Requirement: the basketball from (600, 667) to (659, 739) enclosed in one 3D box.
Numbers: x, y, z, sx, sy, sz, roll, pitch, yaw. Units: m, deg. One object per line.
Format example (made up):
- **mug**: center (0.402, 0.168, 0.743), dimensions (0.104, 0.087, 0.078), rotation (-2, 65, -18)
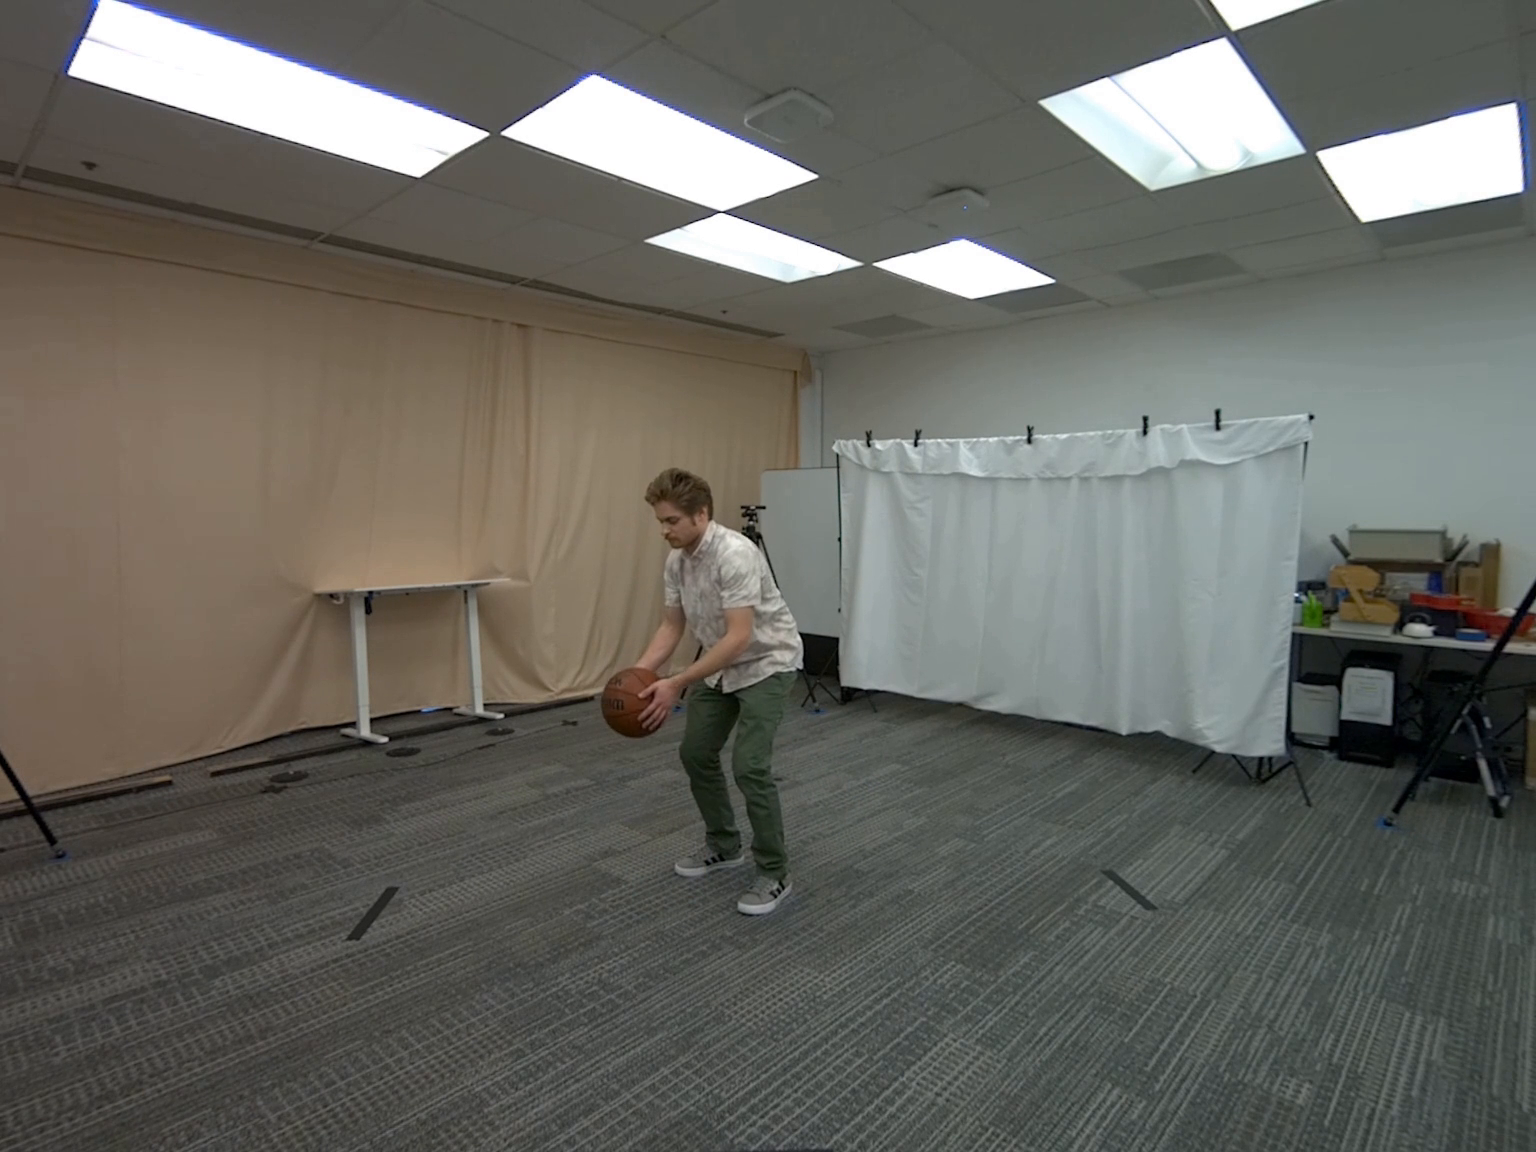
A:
- **basketball**: center (-0.454, 0.436, 2.891), dimensions (0.236, 0.235, 0.237), rotation (0, 4, -2)
